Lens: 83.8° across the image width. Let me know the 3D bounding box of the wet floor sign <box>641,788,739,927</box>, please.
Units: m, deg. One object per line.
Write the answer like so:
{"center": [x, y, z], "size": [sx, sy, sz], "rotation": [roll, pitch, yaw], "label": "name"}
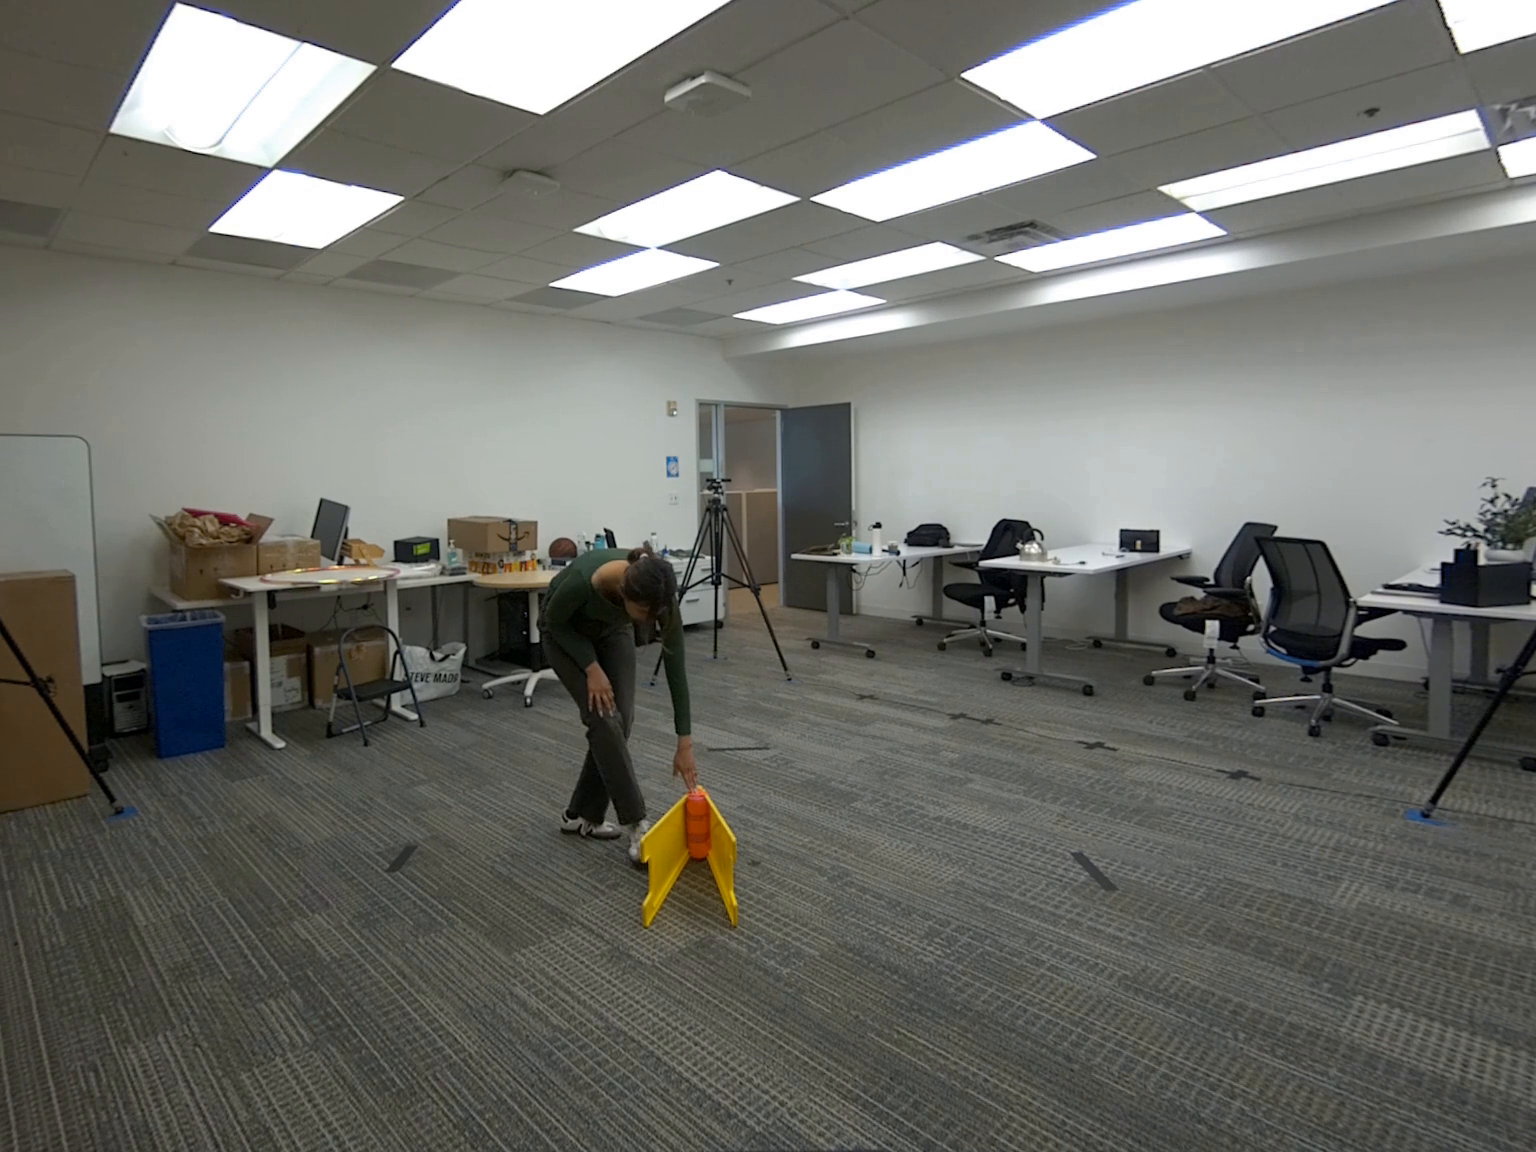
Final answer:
{"center": [-0.254, 0.928, 2.984], "size": [0.290, 0.281, 0.648], "rotation": [-1, 4, -1], "label": "wet floor sign"}
